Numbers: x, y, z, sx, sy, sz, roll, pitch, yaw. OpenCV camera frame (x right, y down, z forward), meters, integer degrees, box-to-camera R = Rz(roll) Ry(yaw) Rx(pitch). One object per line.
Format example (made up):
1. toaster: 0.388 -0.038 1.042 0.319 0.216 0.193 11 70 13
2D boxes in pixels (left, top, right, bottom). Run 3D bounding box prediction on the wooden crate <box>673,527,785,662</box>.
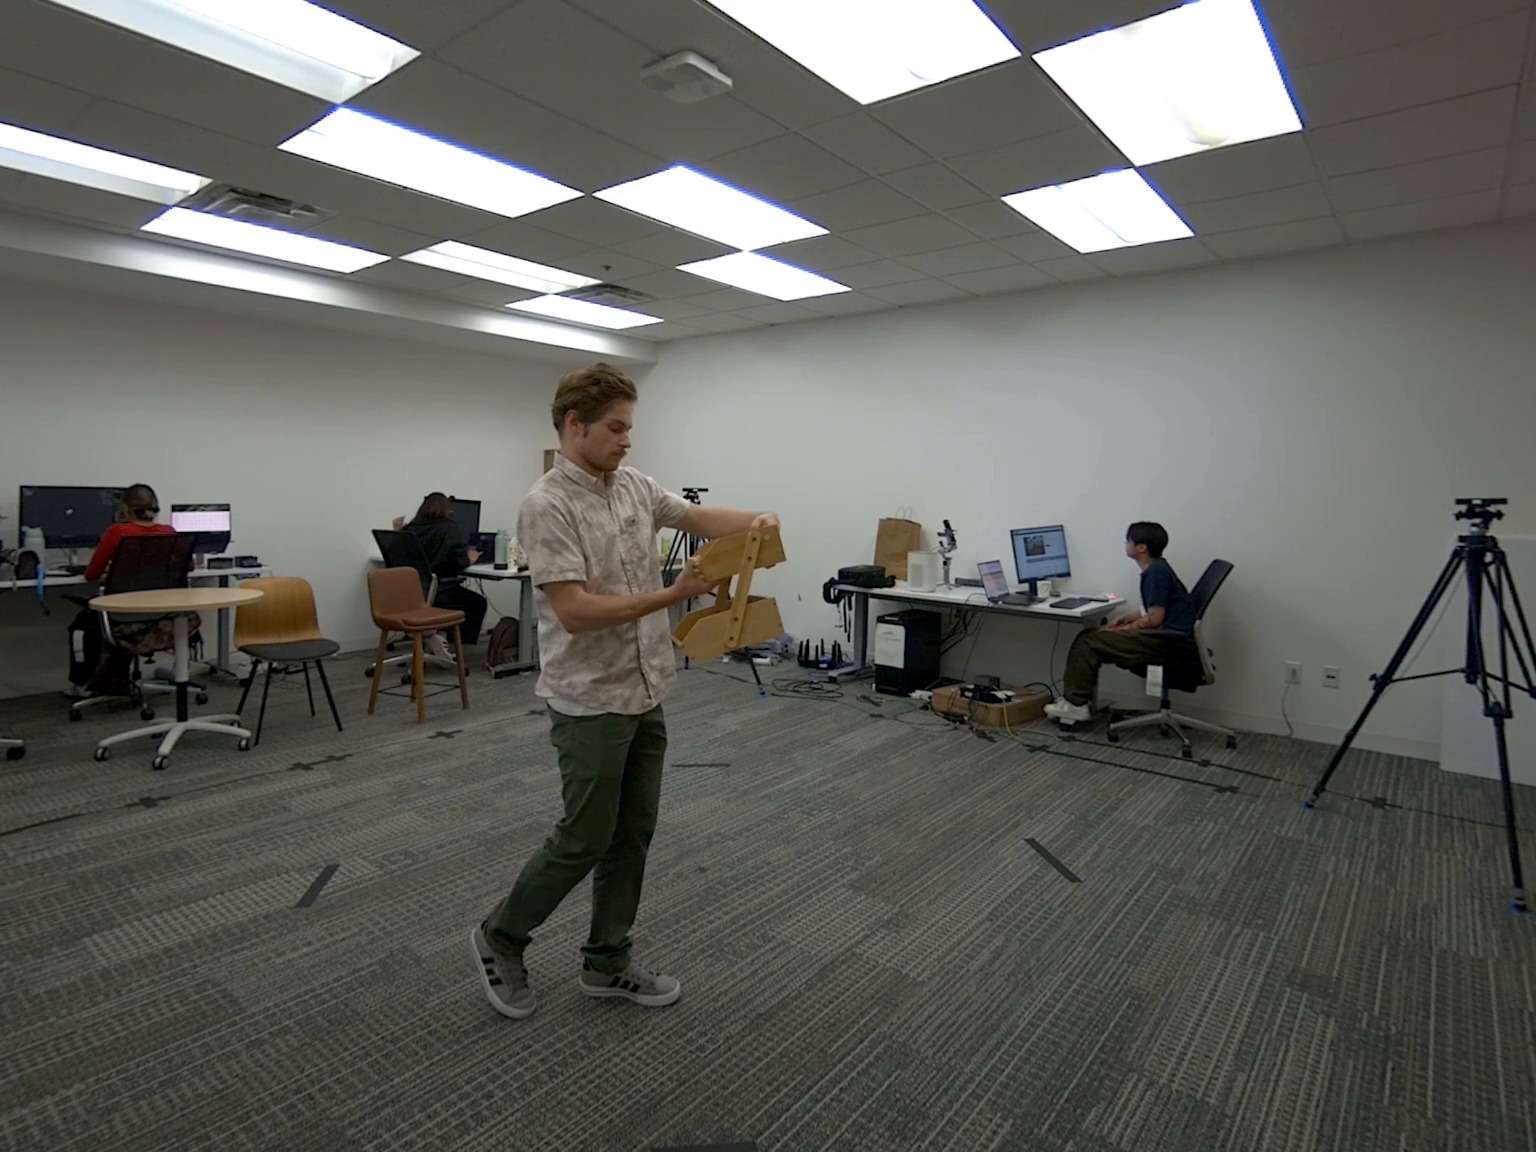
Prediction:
1. wooden crate: -0.136 0.033 2.123 0.299 0.274 0.327 -14 -1 -13
